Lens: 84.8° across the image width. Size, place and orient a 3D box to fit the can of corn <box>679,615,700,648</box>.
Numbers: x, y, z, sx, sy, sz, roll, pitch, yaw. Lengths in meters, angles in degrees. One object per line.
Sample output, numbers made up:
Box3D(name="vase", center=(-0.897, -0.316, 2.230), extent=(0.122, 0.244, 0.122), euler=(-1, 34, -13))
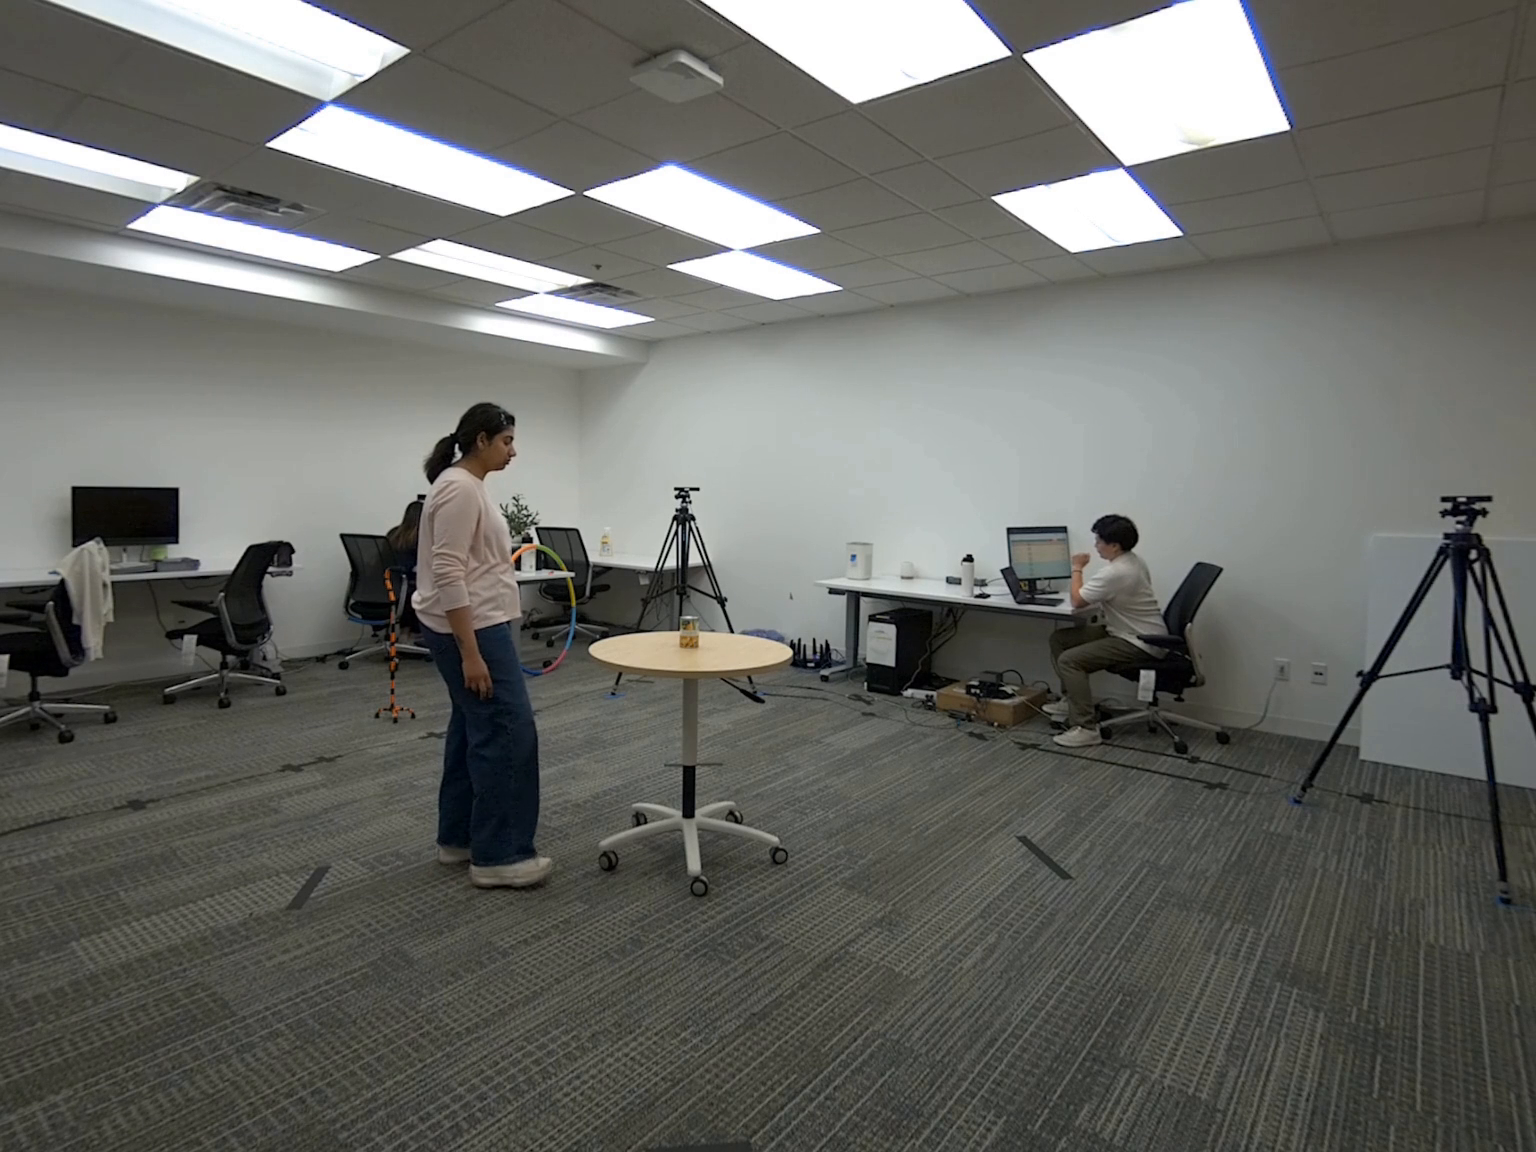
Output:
Box3D(name="can of corn", center=(-0.314, 0.212, 3.238), extent=(0.074, 0.110, 0.074), euler=(1, 5, -2))
